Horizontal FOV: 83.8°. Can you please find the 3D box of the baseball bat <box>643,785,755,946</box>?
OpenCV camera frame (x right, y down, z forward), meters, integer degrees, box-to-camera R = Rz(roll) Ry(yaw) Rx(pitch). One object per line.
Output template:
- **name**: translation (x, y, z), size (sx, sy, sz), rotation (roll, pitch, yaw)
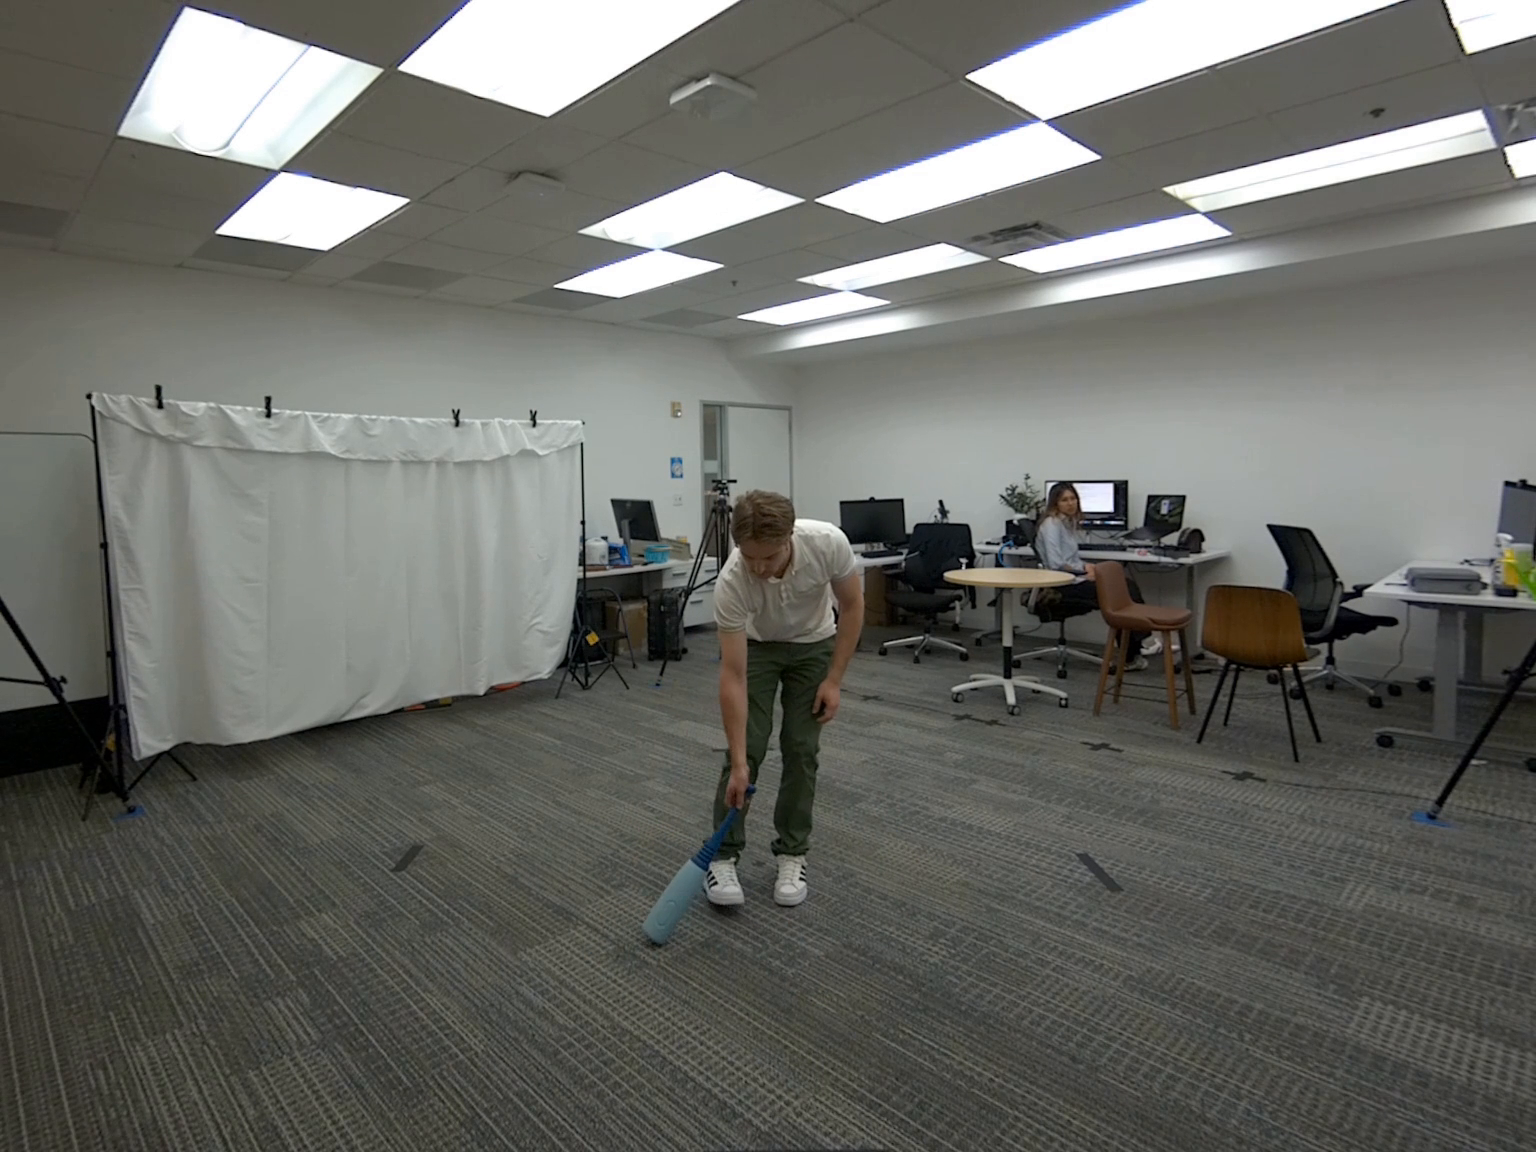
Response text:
- **baseball bat**: translation (-0.201, 0.882, 2.635), size (0.090, 0.544, 0.088), rotation (34, -11, 6)
